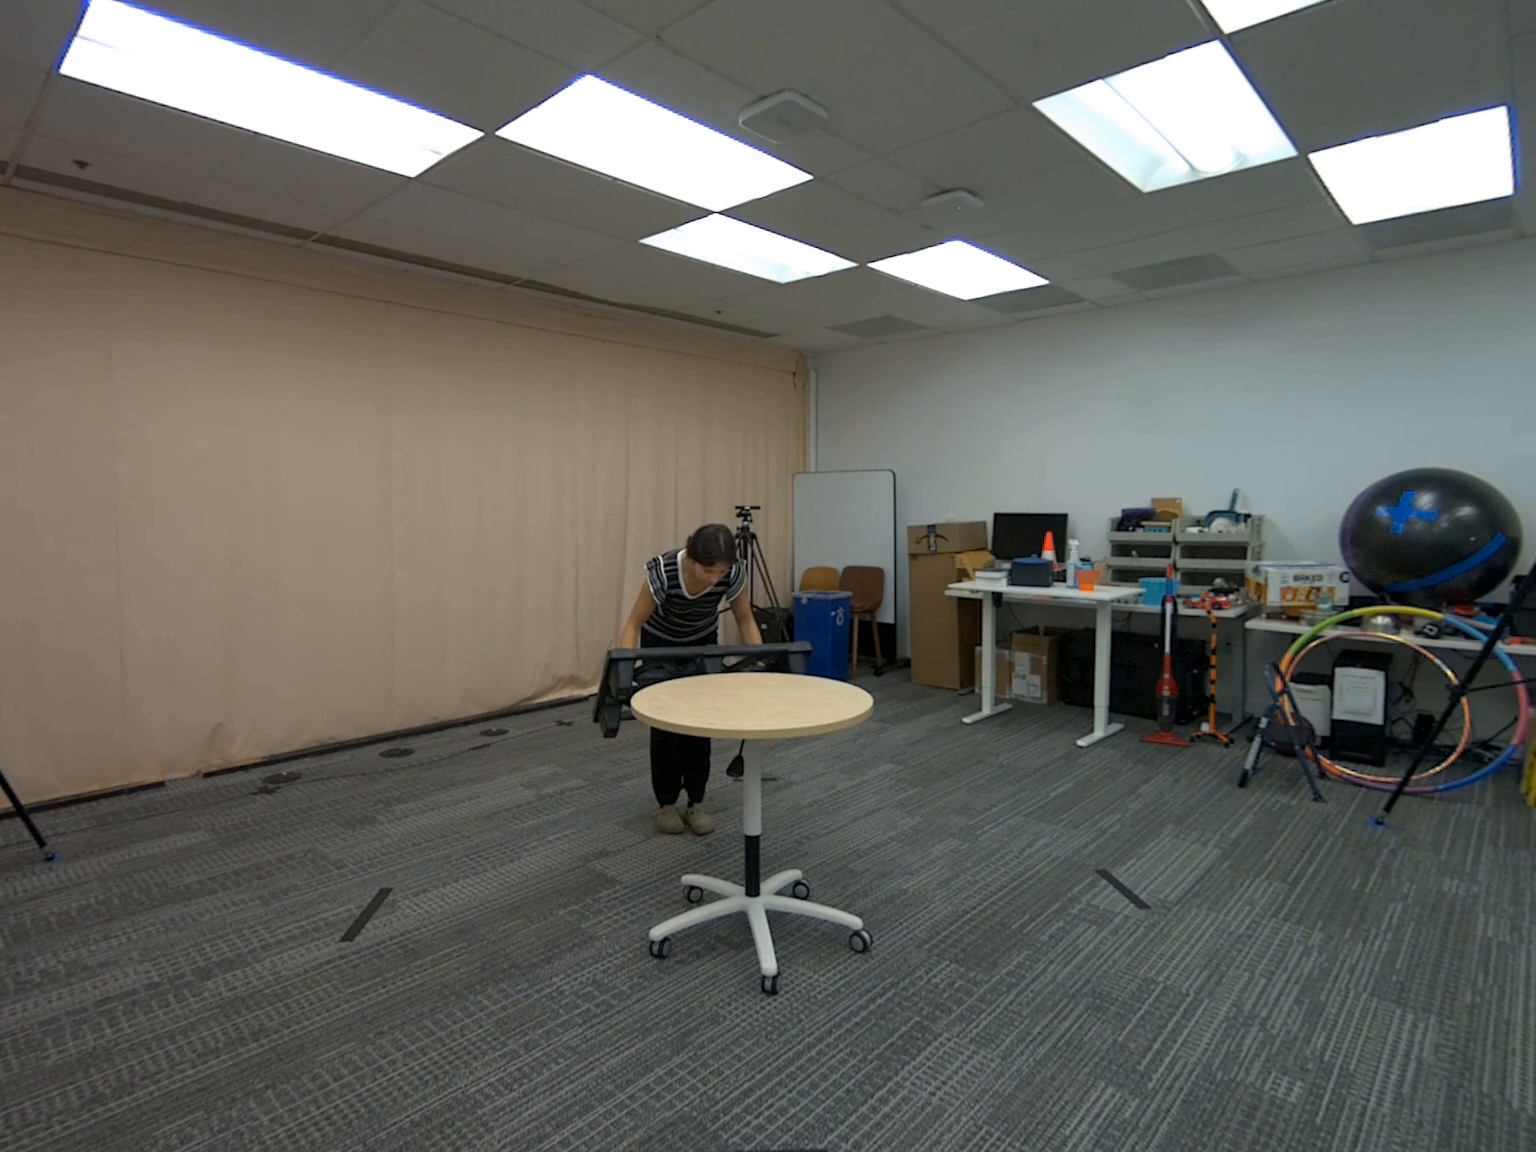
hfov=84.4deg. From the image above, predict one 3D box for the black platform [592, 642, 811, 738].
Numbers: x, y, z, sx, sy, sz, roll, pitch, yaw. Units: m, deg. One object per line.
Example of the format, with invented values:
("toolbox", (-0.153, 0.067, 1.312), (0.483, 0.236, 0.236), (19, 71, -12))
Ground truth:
("black platform", (-0.271, 0.473, 3.374), (0.792, 0.146, 0.602), (-1, -33, -16))
